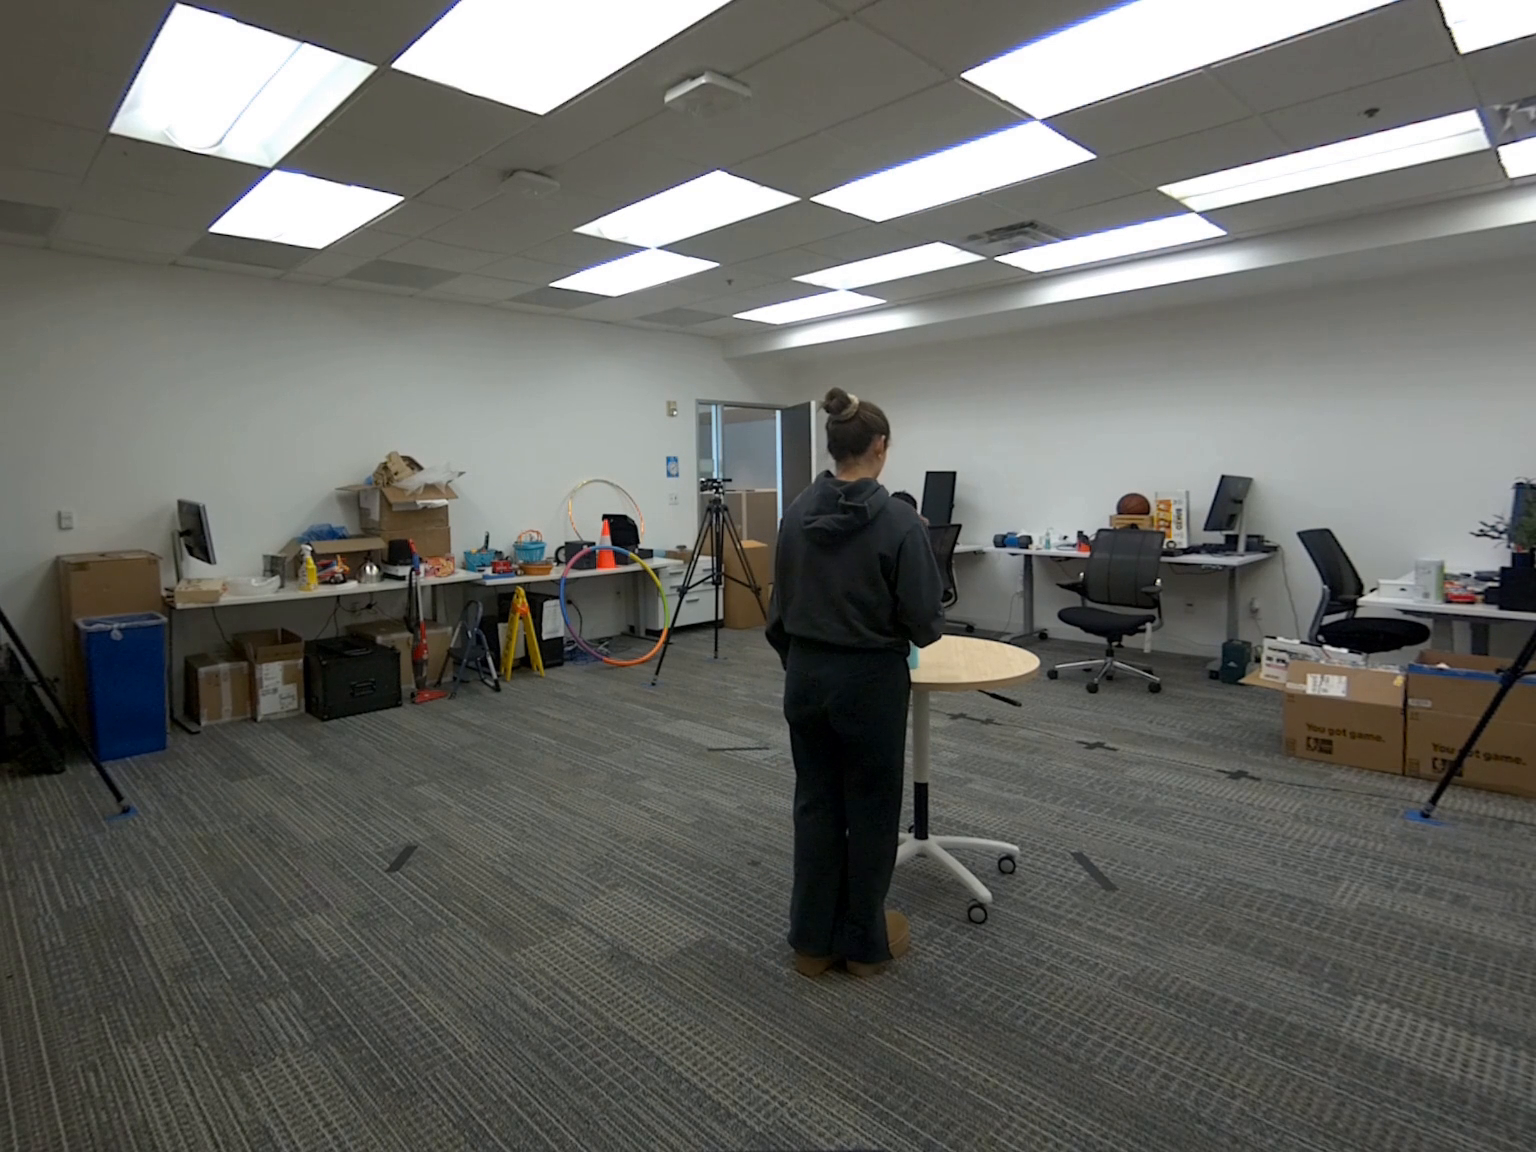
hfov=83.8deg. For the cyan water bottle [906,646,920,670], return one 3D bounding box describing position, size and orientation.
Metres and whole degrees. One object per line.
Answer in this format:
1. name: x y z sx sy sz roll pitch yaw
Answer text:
1. cyan water bottle: 0.442 0.155 2.741 0.092 0.282 0.093 -2 6 -1
